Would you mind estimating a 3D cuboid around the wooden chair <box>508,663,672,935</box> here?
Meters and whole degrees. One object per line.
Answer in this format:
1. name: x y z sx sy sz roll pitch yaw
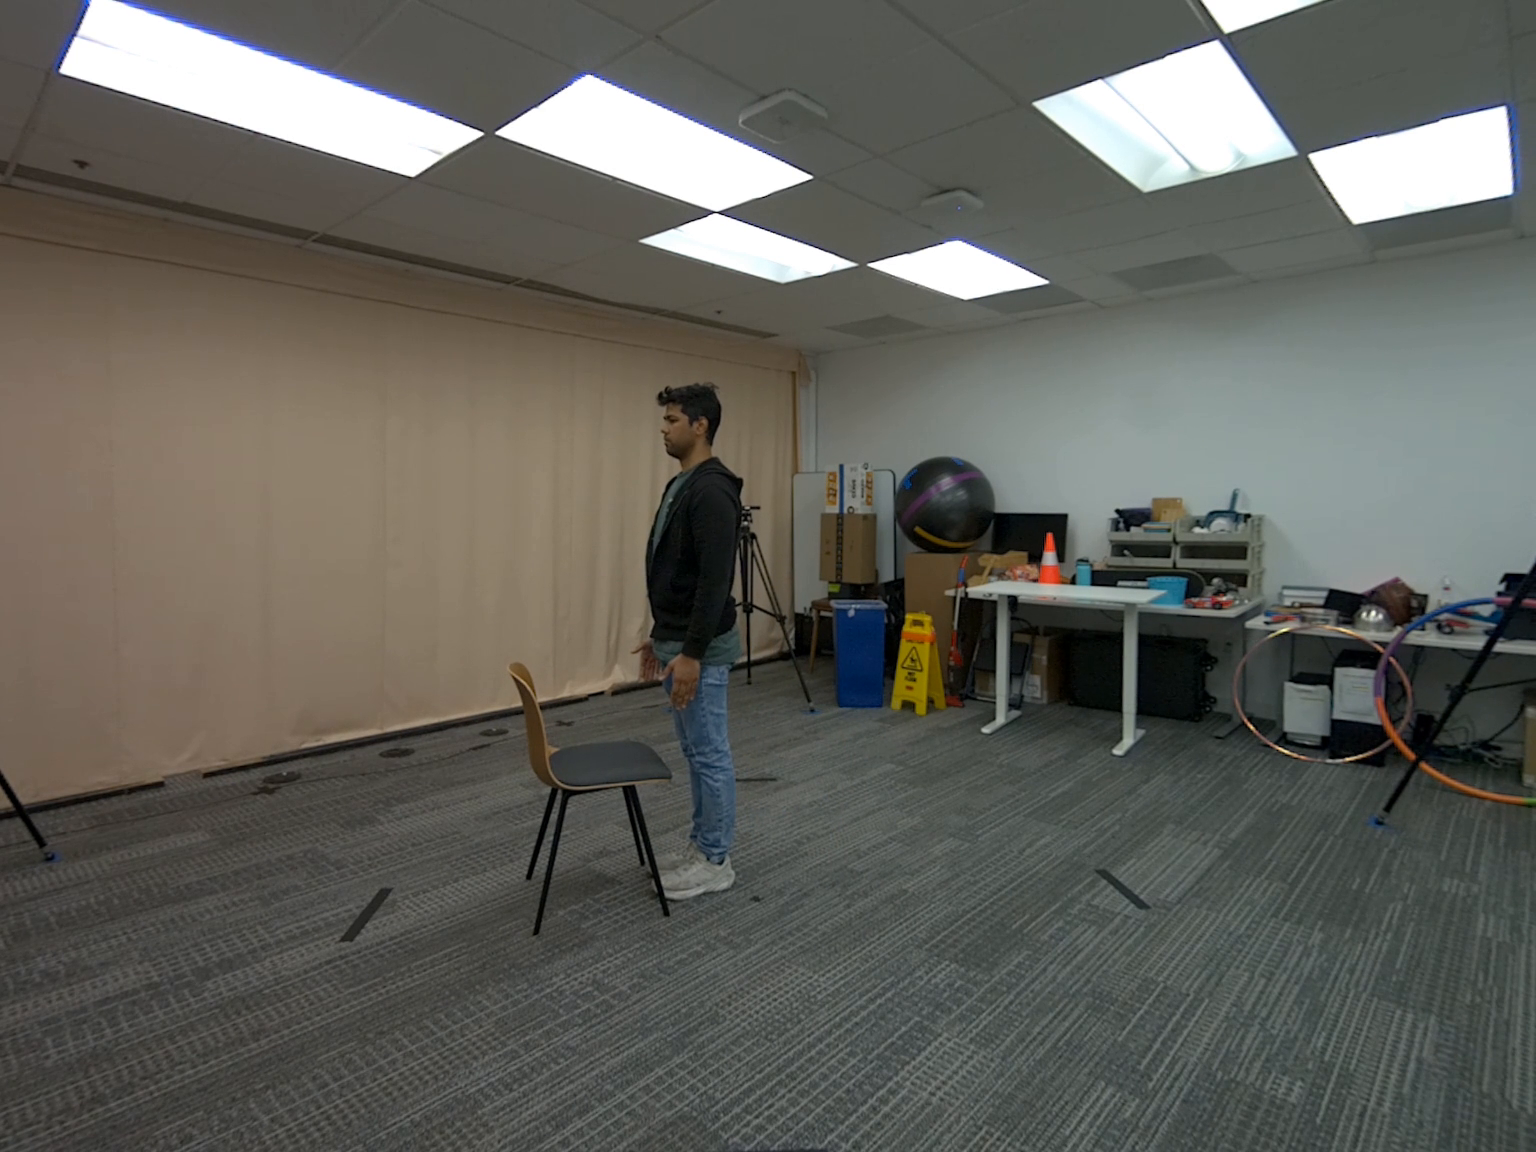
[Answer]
1. wooden chair: -0.612 0.718 2.983 0.514 0.875 0.487 -6 4 -18
